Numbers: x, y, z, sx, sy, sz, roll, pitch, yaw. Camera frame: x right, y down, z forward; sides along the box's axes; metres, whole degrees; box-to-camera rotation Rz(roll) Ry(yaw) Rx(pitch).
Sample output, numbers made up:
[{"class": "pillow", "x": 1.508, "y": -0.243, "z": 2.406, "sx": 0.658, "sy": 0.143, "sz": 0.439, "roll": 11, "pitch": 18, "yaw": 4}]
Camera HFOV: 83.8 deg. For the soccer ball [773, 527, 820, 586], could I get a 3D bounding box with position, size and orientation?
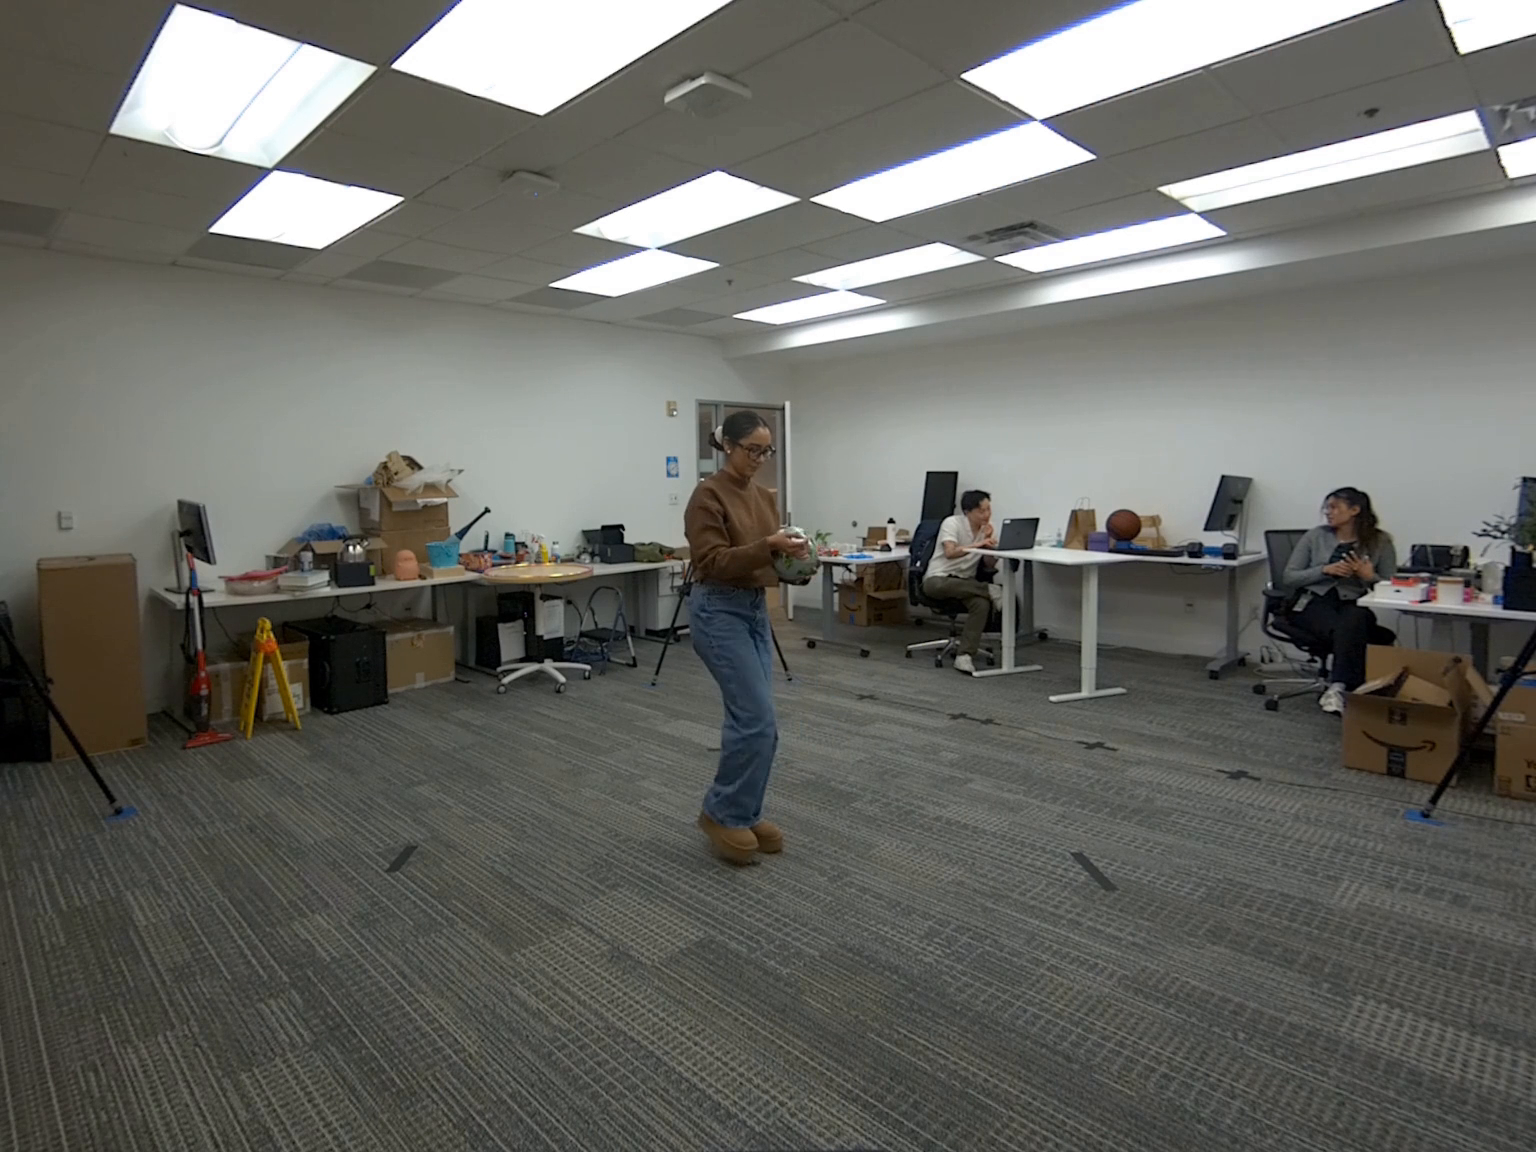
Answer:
[{"class": "soccer ball", "x": 0.086, "y": -0.069, "z": 3.064, "sx": 0.187, "sy": 0.187, "sz": 0.188, "roll": -1, "pitch": 5, "yaw": -2}]
